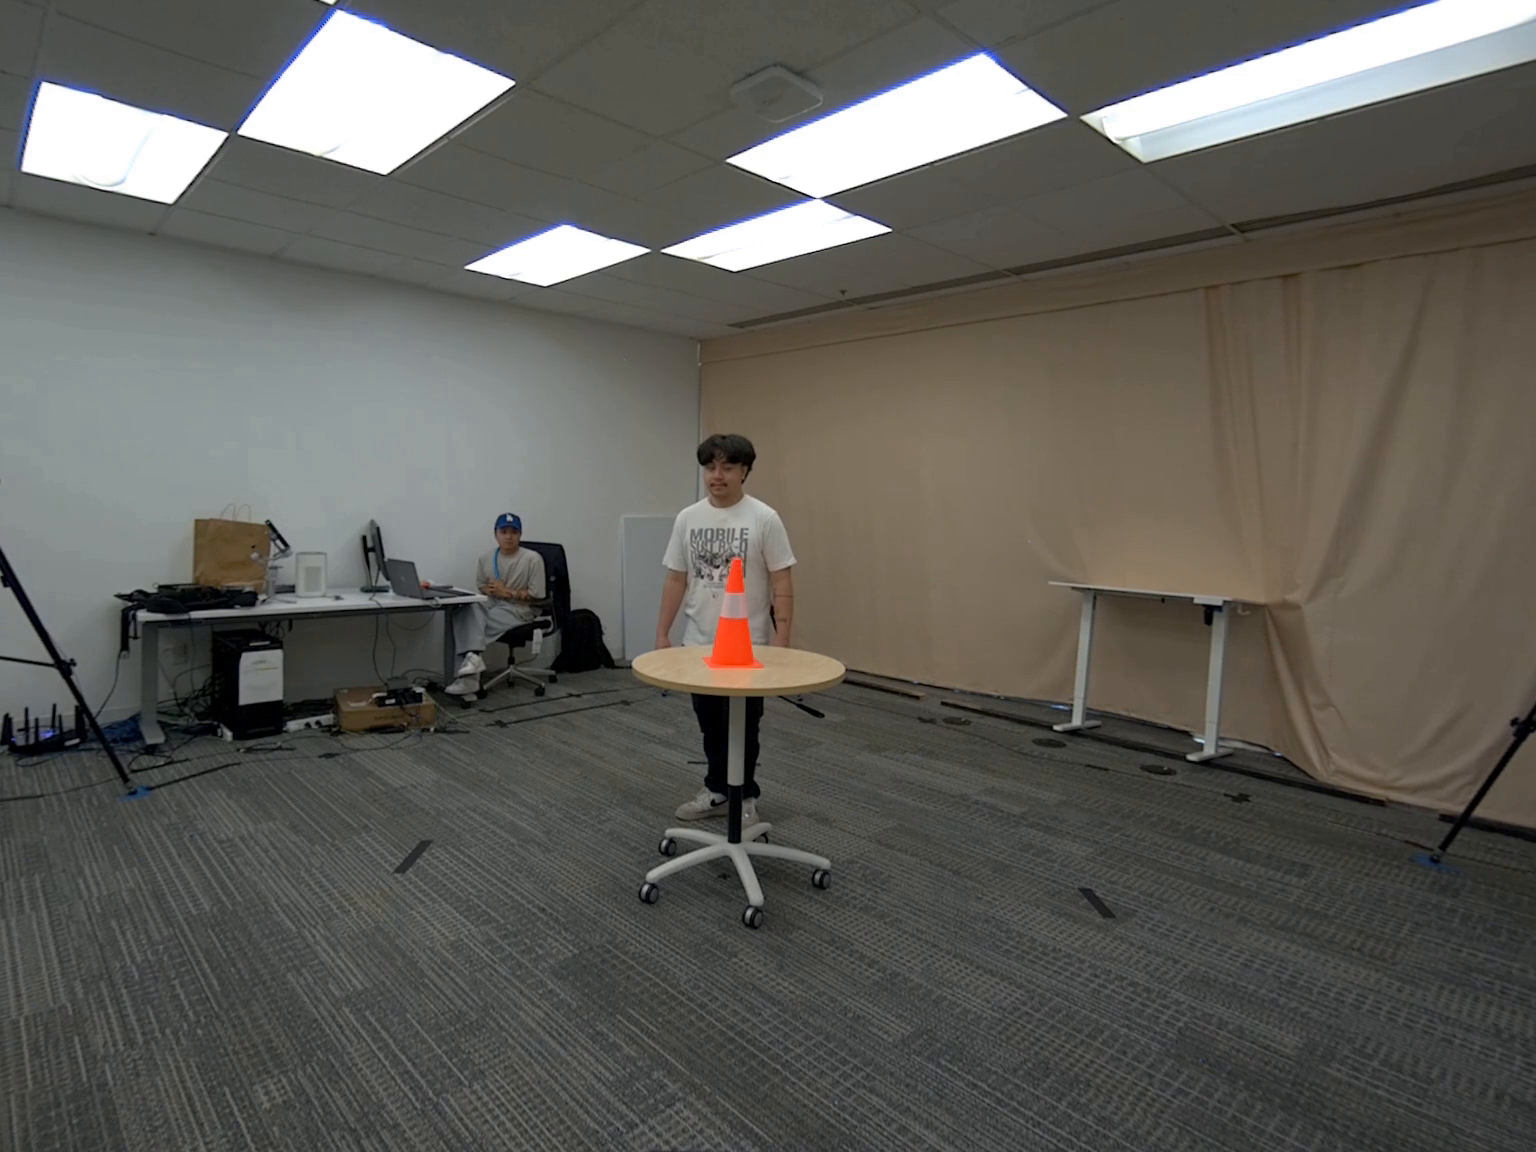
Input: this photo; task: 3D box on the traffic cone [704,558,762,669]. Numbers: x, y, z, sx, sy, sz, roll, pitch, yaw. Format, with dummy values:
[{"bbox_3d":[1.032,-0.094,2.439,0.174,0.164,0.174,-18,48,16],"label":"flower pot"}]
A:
[{"bbox_3d":[-0.128,0.127,3.043,0.210,0.382,0.199,7,8,38],"label":"traffic cone"}]
